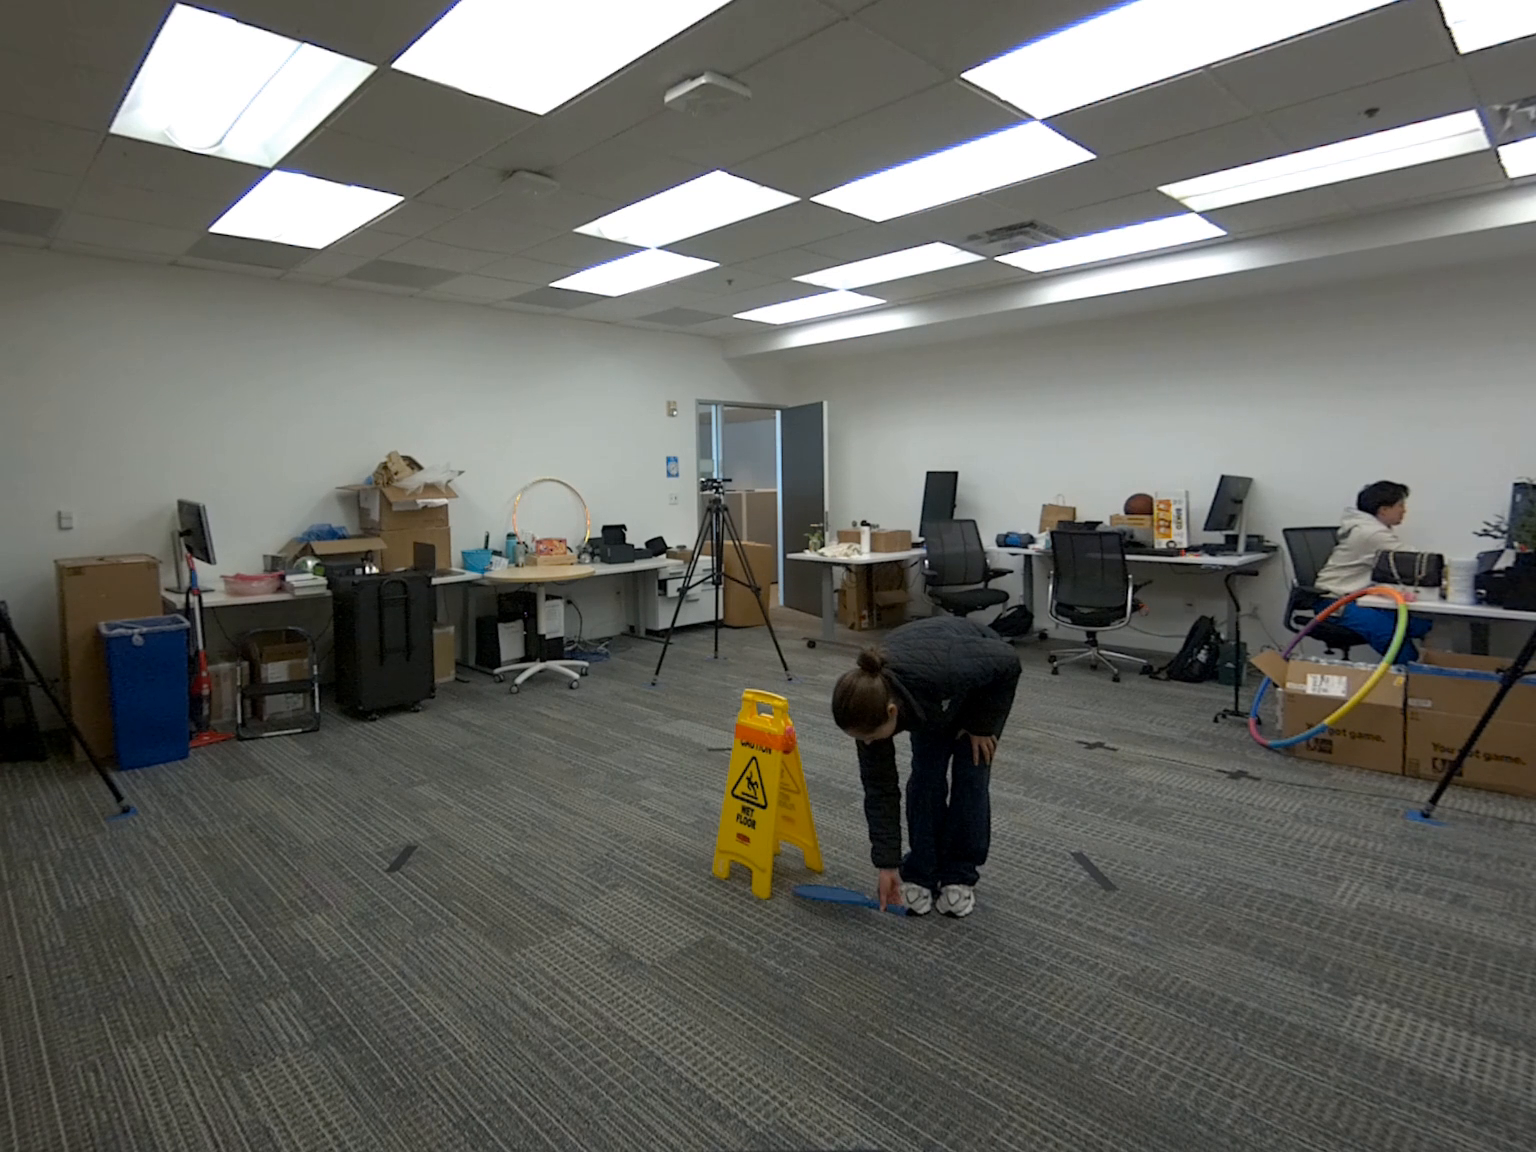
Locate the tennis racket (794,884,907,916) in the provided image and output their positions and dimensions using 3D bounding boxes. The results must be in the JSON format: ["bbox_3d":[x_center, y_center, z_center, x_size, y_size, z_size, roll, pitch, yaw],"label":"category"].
[{"bbox_3d":[0.256,1.024,2.771,0.206,0.032,0.443,10,-13,-44],"label":"tennis racket"}]
